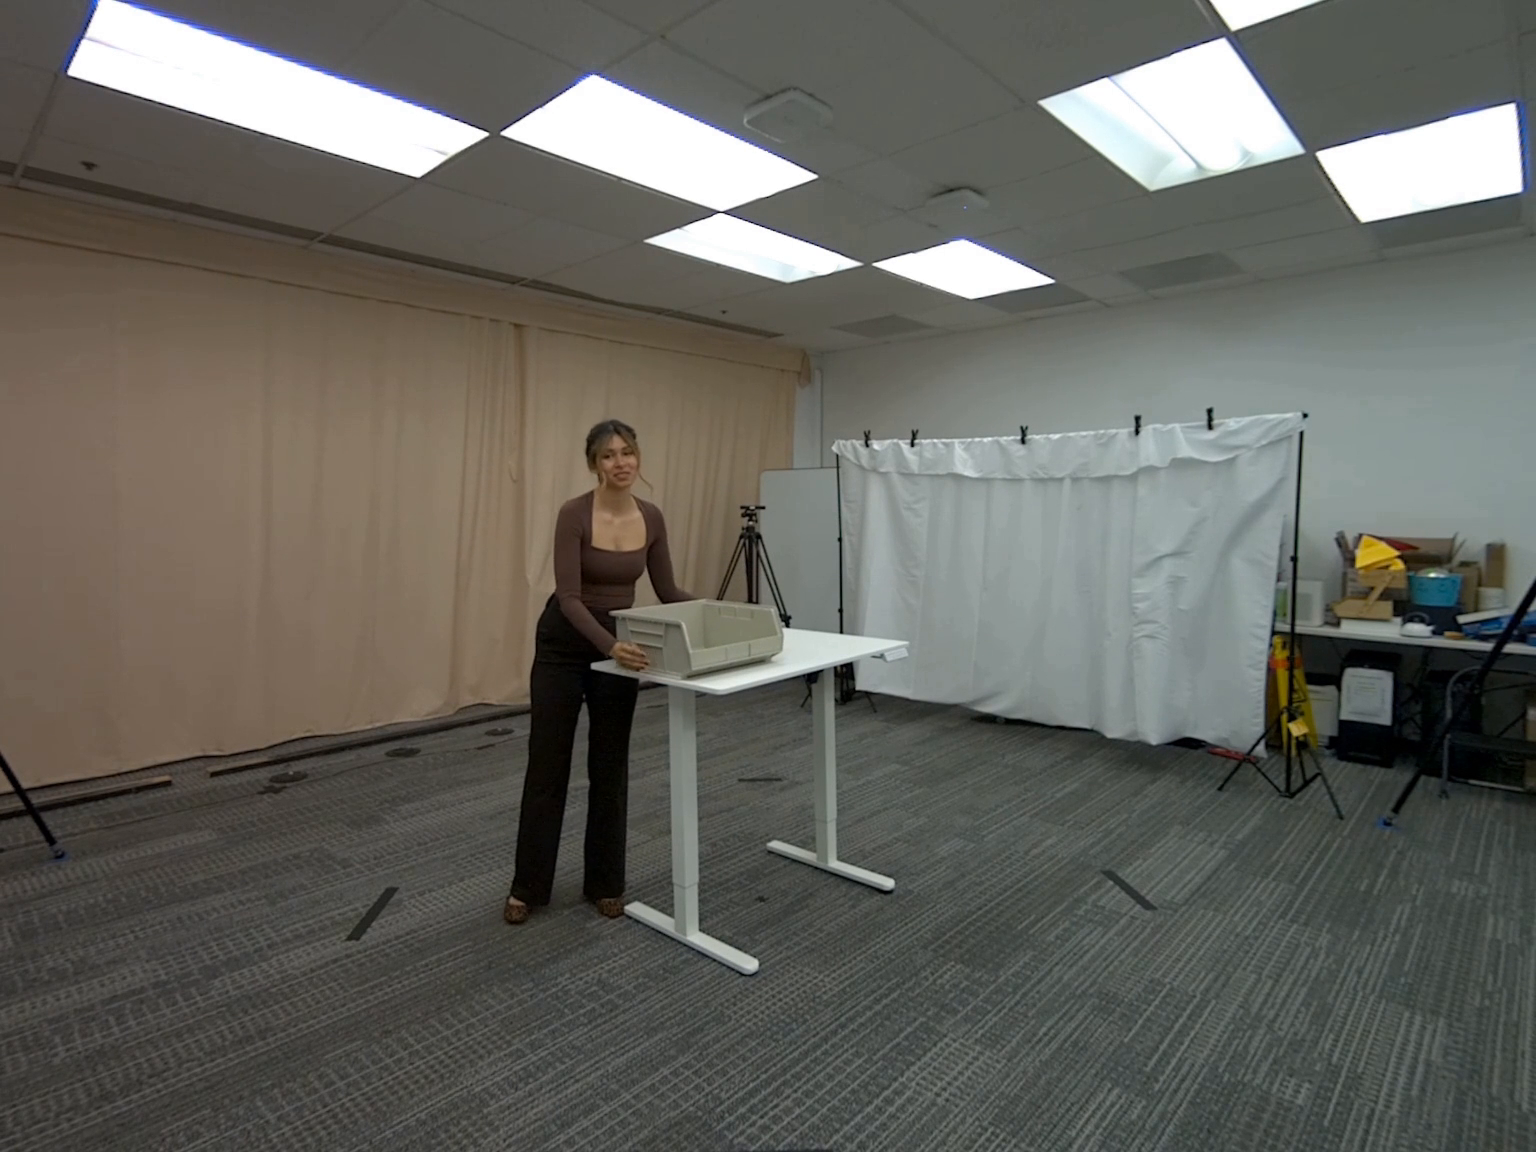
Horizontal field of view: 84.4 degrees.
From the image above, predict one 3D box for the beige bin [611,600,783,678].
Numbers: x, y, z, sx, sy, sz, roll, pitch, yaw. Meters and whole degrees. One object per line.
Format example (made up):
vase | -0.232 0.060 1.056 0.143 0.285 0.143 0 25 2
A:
beige bin | -0.222 0.199 2.716 0.390 0.188 0.409 2 6 44
